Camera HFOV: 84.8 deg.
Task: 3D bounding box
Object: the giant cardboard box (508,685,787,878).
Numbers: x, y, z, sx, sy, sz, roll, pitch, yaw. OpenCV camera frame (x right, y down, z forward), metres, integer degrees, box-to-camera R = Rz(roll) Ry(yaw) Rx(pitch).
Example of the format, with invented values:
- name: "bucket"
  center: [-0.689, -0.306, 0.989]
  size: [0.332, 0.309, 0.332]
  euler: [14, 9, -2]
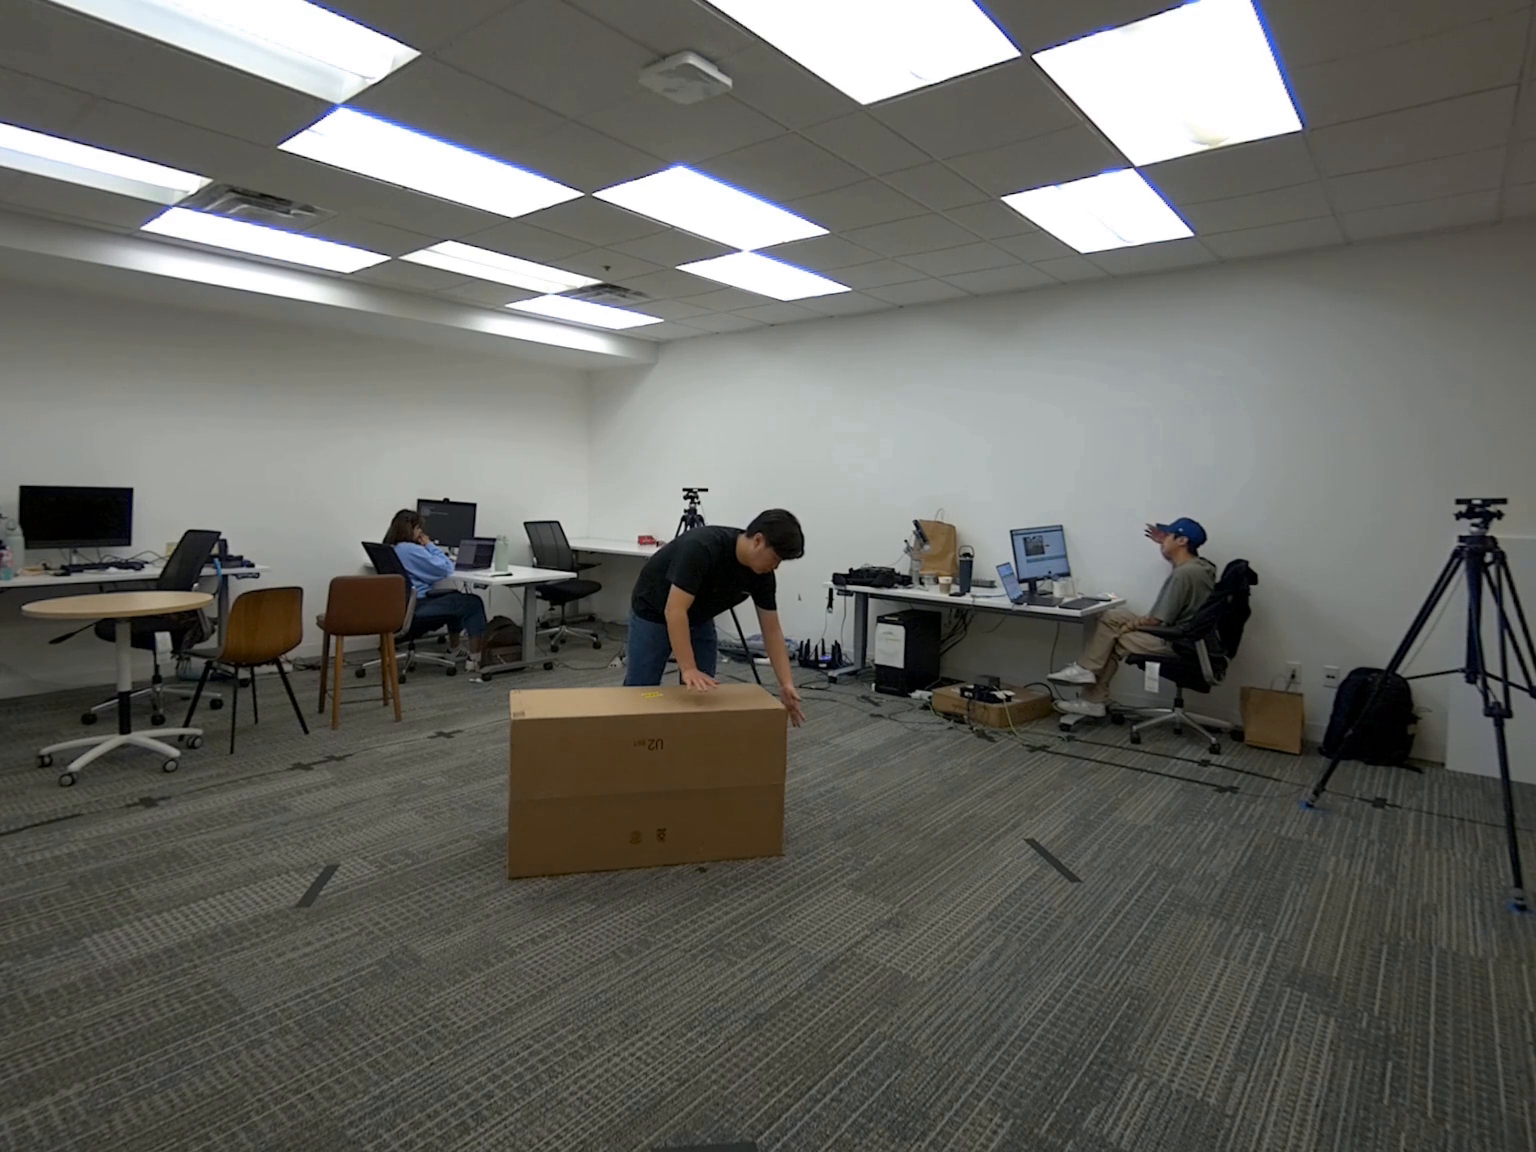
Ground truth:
- name: "giant cardboard box"
  center: [-0.492, 0.756, 3.305]
  size: [1.011, 0.583, 0.455]
  euler: [0, 3, -15]
